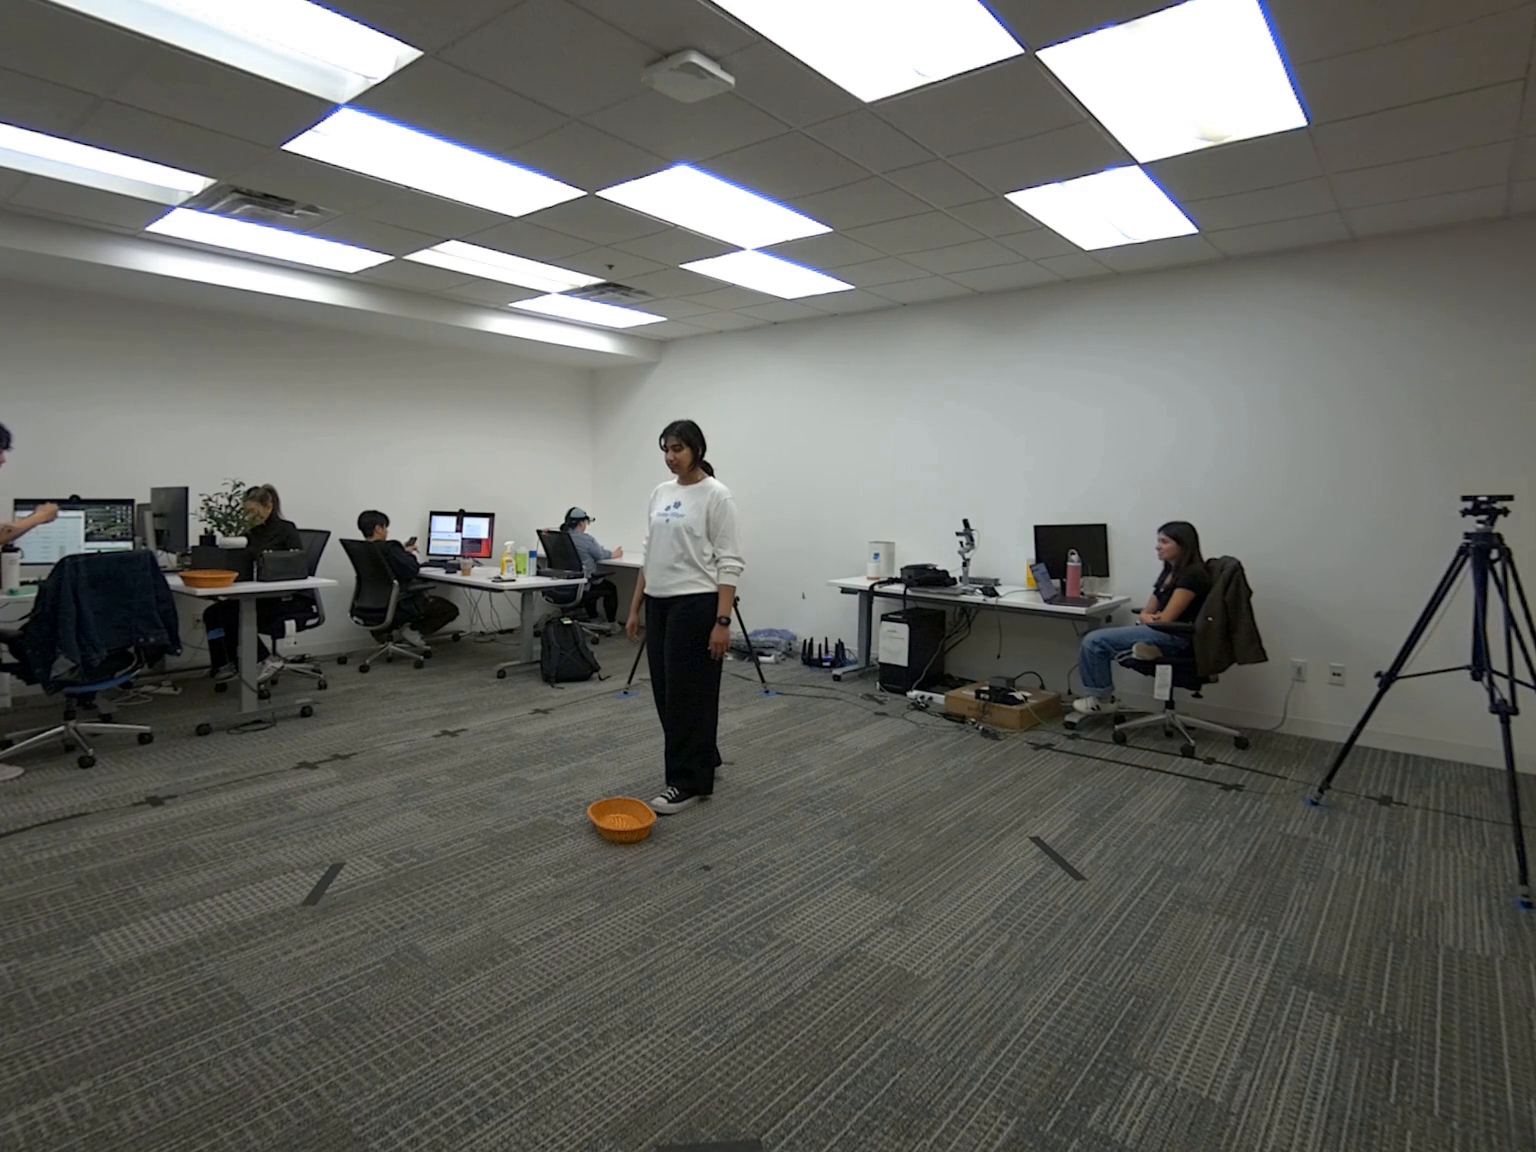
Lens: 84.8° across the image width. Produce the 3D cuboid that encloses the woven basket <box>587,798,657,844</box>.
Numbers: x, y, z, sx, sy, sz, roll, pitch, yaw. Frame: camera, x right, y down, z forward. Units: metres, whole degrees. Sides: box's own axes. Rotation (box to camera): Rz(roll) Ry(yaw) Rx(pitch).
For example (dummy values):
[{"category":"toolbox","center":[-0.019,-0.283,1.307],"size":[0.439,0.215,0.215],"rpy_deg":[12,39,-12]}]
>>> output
[{"category":"woven basket","center":[-0.595,0.987,3.444],"size":[0.247,0.073,0.359],"rpy_deg":[-3,7,-21]}]
